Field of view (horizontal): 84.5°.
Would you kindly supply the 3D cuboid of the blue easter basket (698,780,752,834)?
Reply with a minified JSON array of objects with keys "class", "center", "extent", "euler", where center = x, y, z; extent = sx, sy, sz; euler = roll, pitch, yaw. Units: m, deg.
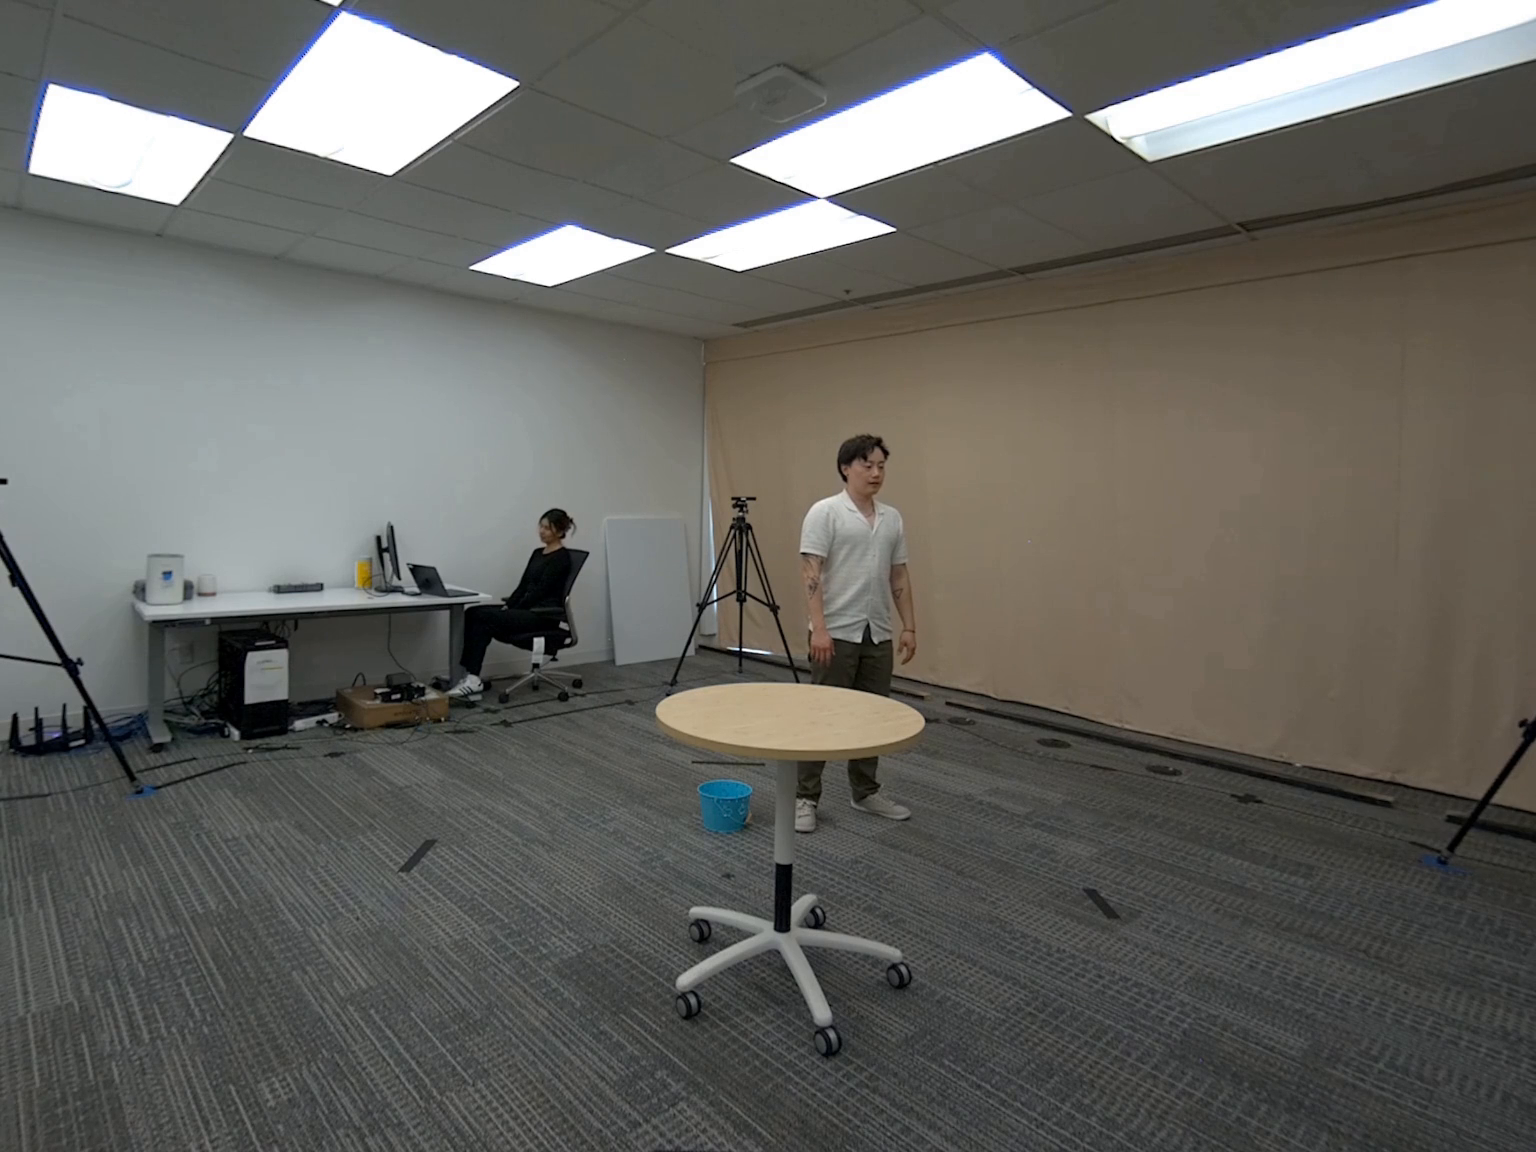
[{"class":"blue easter basket","center":[-0.196,0.986,3.597],"extent":[0.243,0.155,0.244],"euler":[1,4,-1]}]
